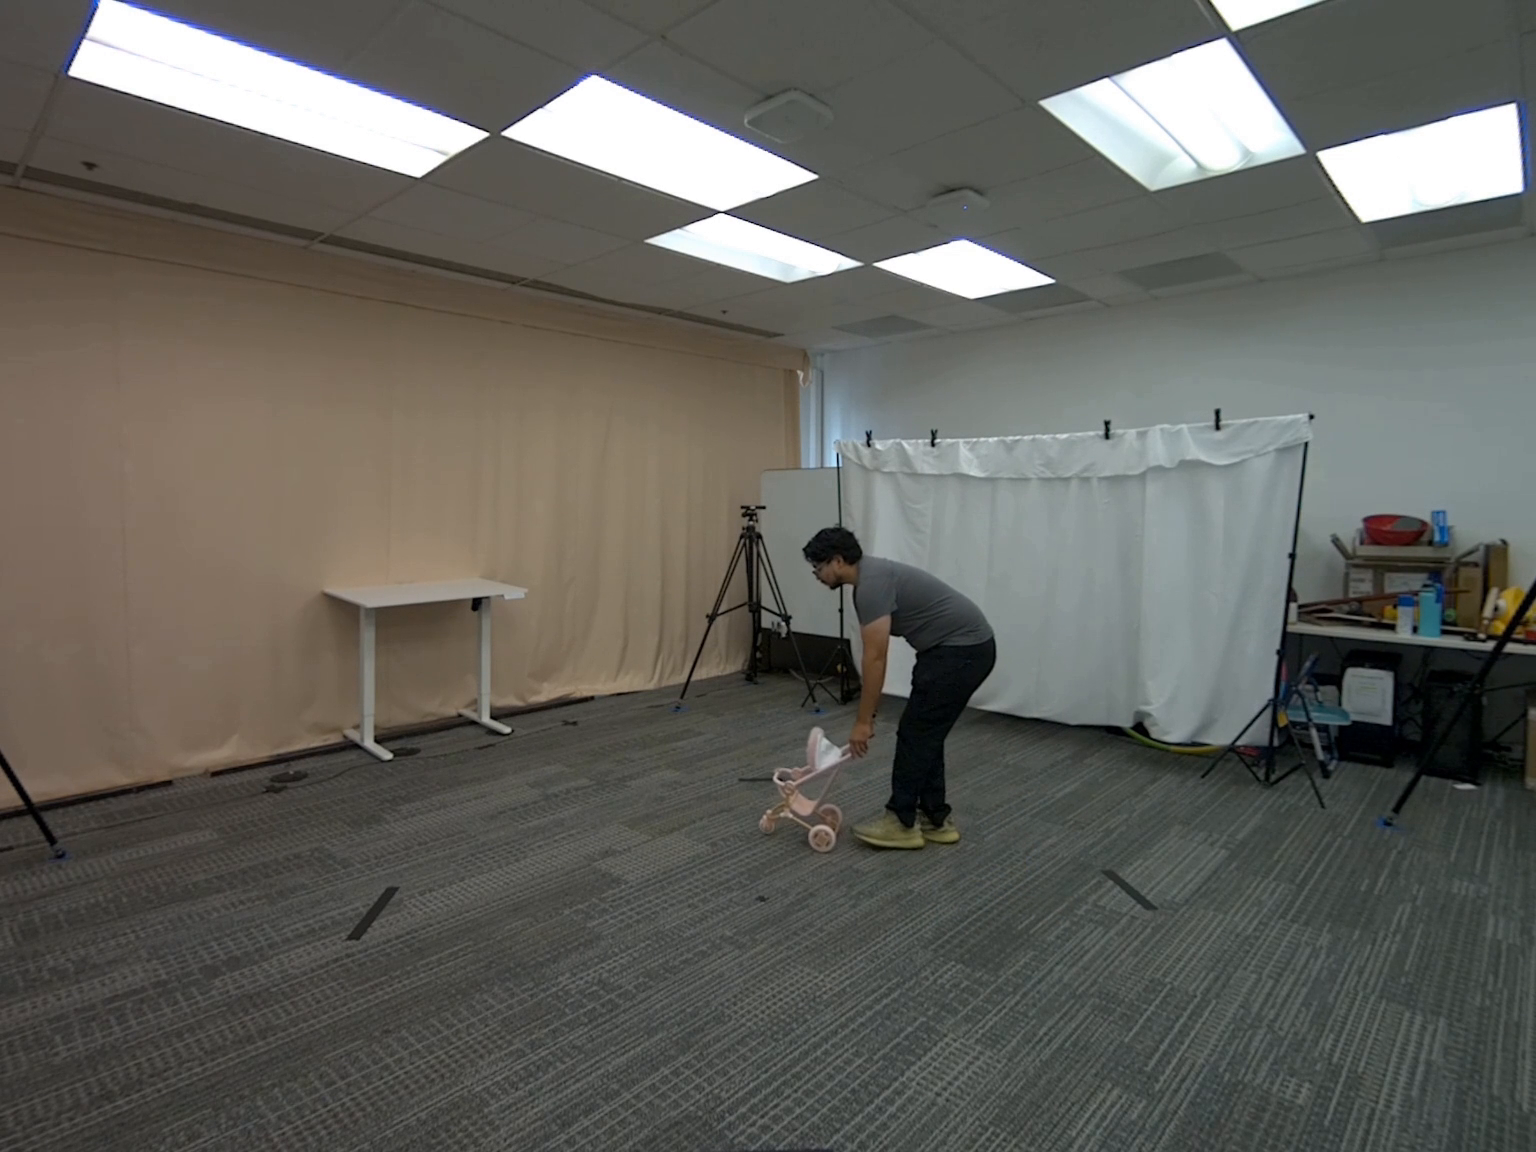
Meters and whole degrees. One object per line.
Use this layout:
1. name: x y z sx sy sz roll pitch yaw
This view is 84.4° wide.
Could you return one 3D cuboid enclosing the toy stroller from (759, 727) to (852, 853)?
1. toy stroller: 0.186 0.878 3.522 0.348 0.534 0.276 18 7 16
